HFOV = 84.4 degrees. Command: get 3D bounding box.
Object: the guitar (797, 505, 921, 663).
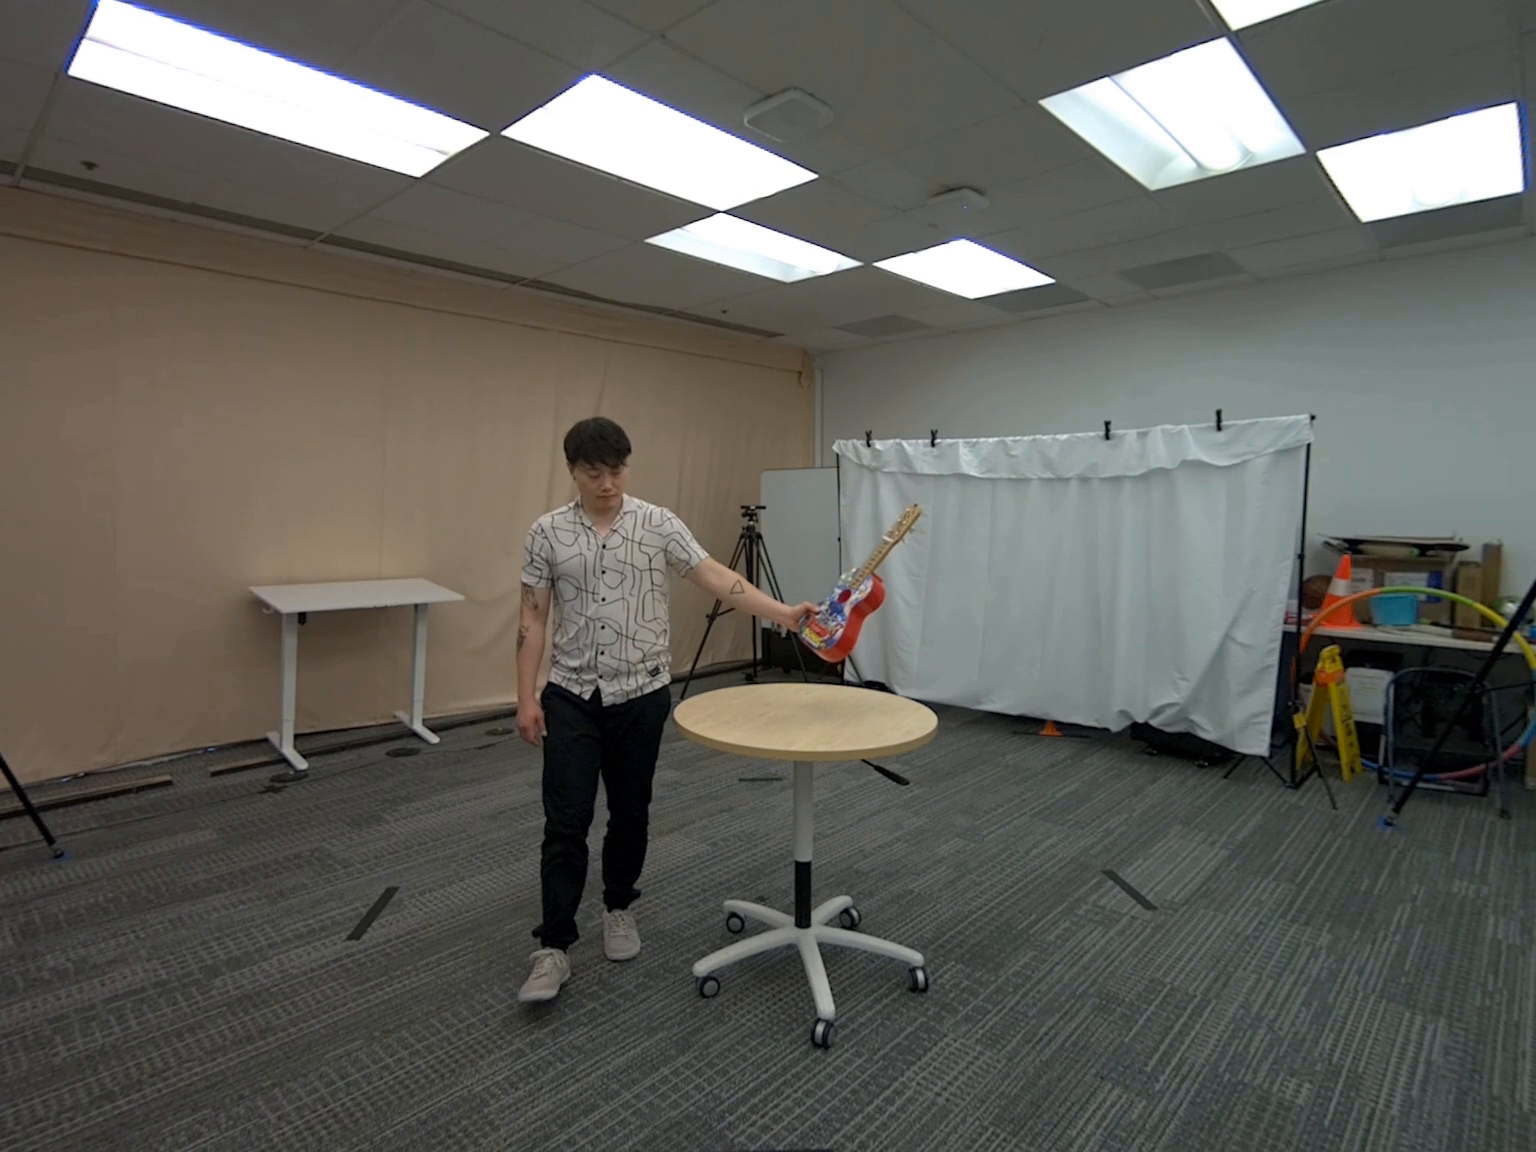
[{"bbox_3d":[0.292,0.020,2.325,0.068,0.499,0.199,39,8,-31],"label":"guitar"}]
